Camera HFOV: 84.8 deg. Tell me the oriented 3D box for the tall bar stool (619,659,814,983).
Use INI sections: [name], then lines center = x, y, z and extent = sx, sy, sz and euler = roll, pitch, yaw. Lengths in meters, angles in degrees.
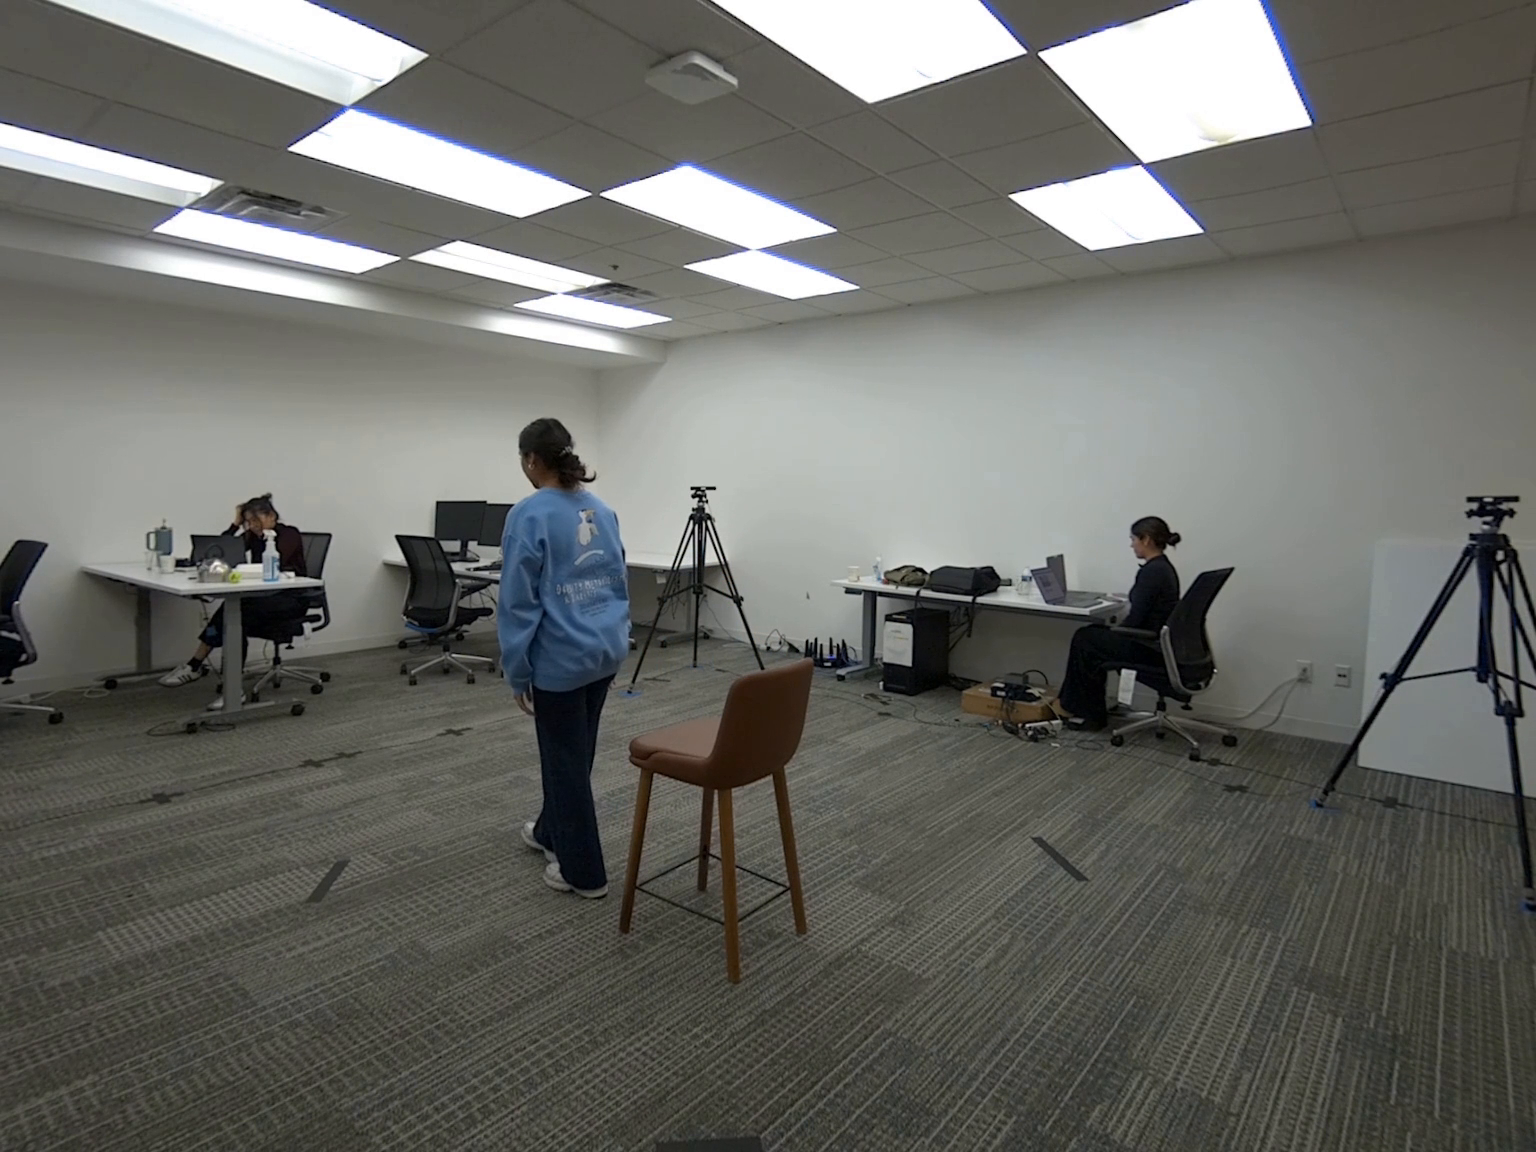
[tall bar stool]
center = -0.159, 0.677, 2.635
extent = 0.483, 0.886, 0.443
euler = 6, 6, 37
